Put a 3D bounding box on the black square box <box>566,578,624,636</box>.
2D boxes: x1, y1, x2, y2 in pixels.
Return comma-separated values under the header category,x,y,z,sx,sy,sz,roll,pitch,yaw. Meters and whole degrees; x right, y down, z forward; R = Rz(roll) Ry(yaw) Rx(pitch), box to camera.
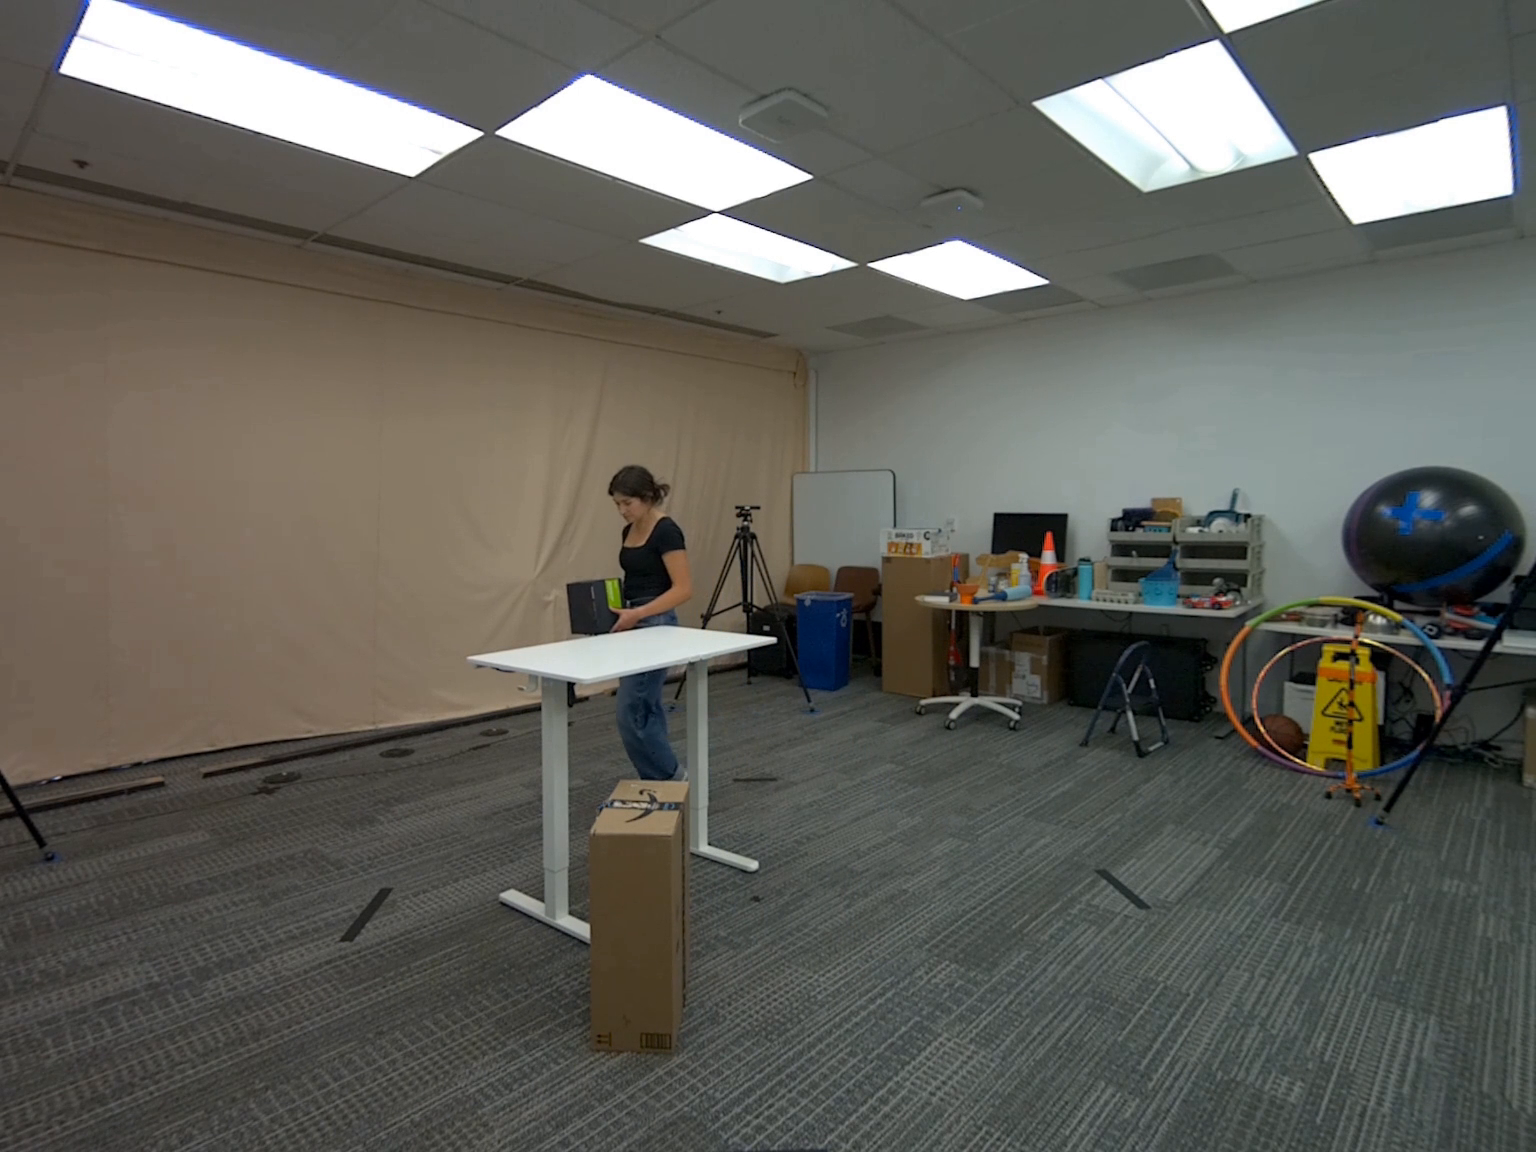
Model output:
category,x,y,z,sx,sy,sz,roll,pitch,yaw
black square box,-0.748,0.131,3.684,0.151,0.228,0.223,-7,2,-42
